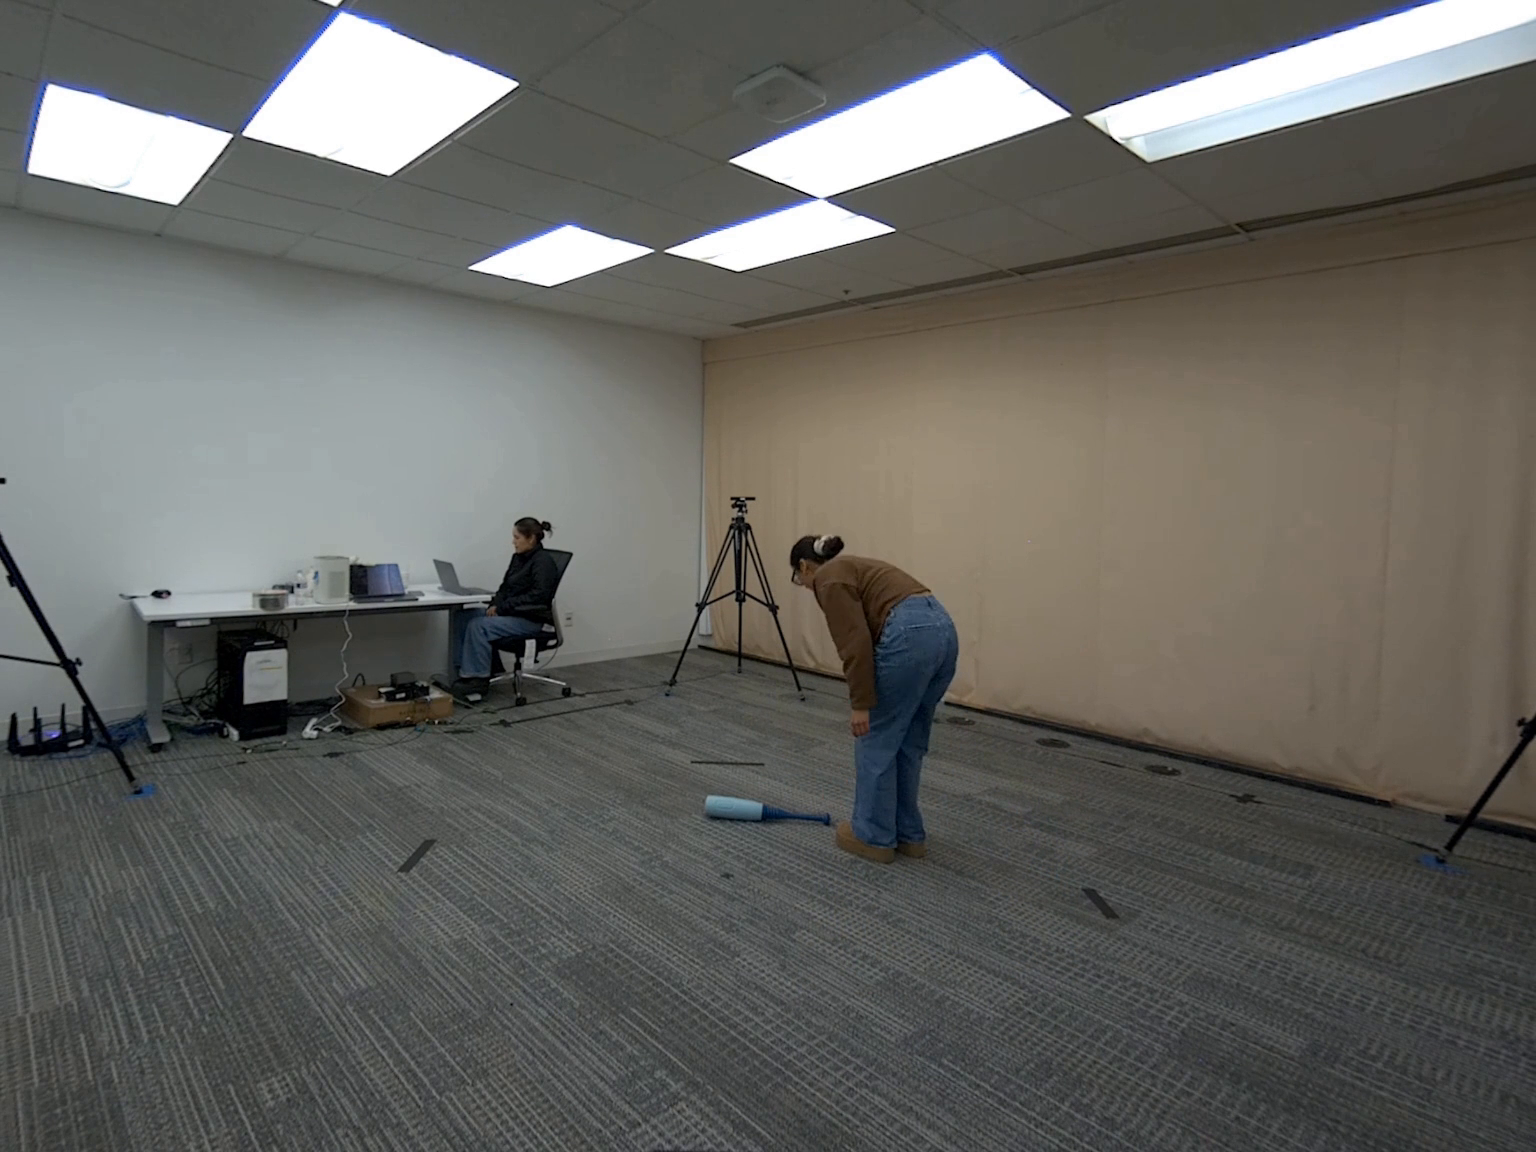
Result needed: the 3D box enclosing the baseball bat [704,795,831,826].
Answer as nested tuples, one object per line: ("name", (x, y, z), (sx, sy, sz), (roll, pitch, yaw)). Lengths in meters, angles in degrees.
("baseball bat", (-0.013, 1.027, 3.650), (0.545, 0.089, 0.089), (4, 4, 5))
